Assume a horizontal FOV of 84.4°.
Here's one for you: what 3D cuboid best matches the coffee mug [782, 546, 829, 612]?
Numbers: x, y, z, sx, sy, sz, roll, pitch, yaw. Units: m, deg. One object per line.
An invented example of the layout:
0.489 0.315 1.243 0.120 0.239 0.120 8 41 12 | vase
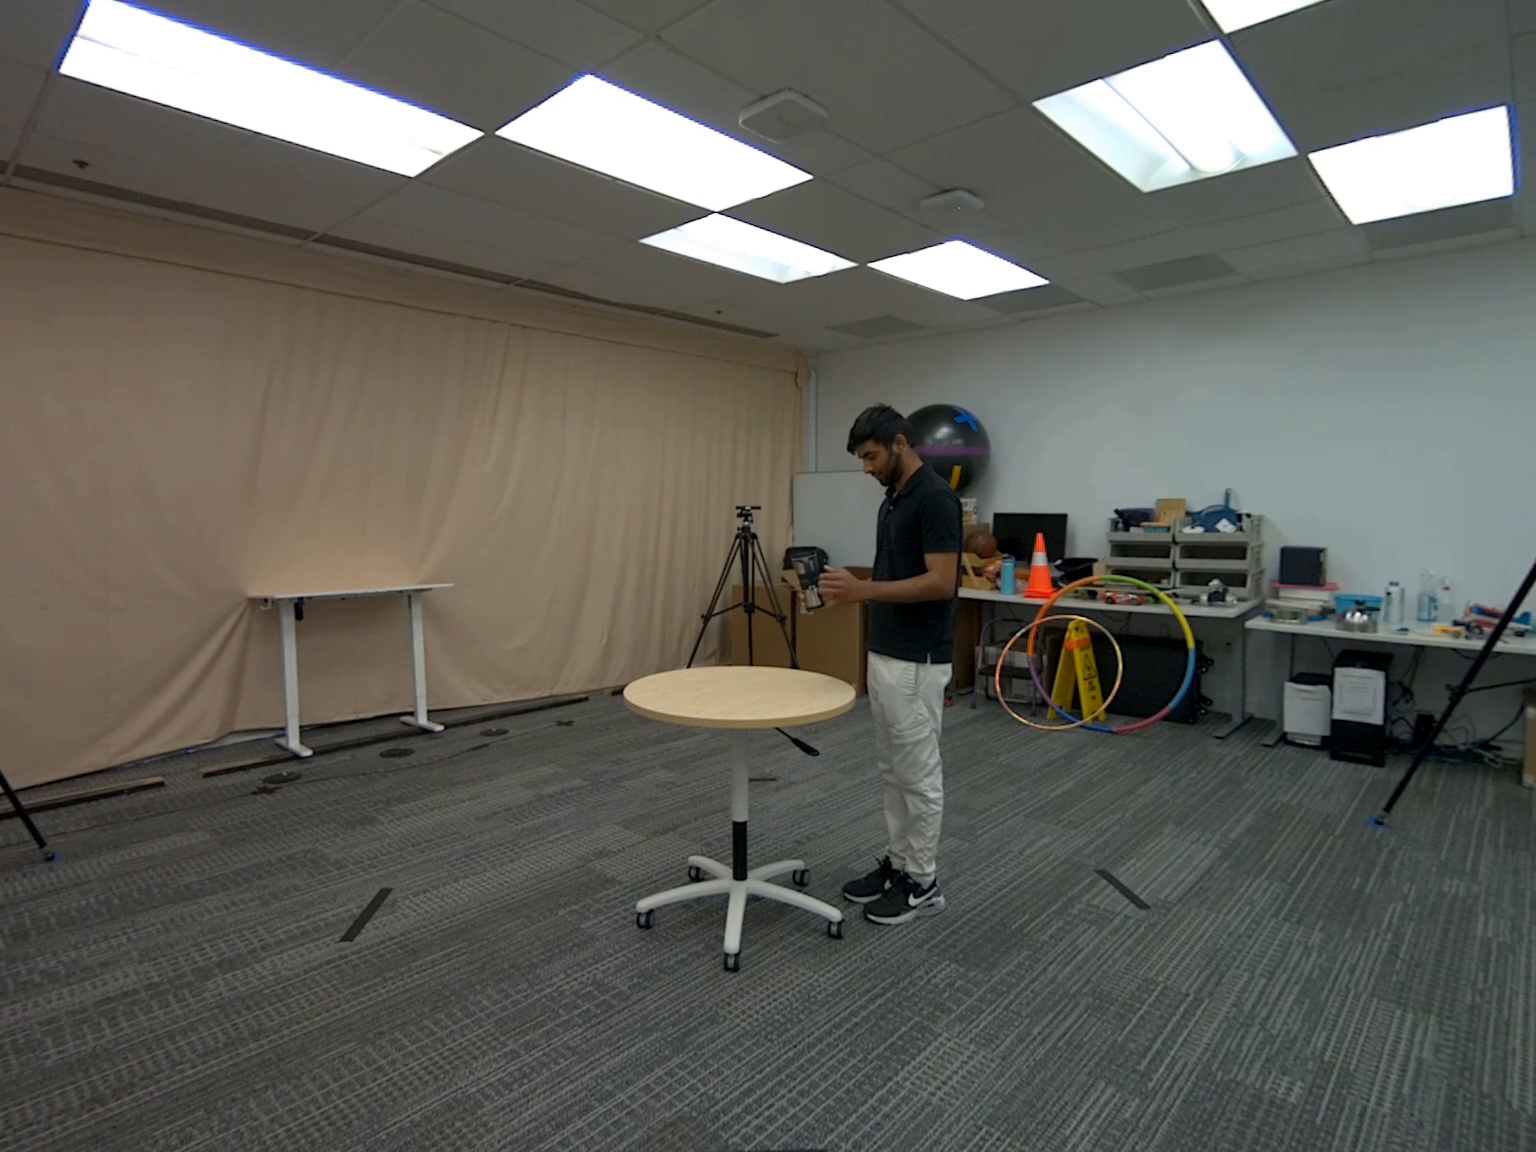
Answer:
0.147 0.019 2.962 0.090 0.203 0.119 -11 -2 25 | coffee mug
